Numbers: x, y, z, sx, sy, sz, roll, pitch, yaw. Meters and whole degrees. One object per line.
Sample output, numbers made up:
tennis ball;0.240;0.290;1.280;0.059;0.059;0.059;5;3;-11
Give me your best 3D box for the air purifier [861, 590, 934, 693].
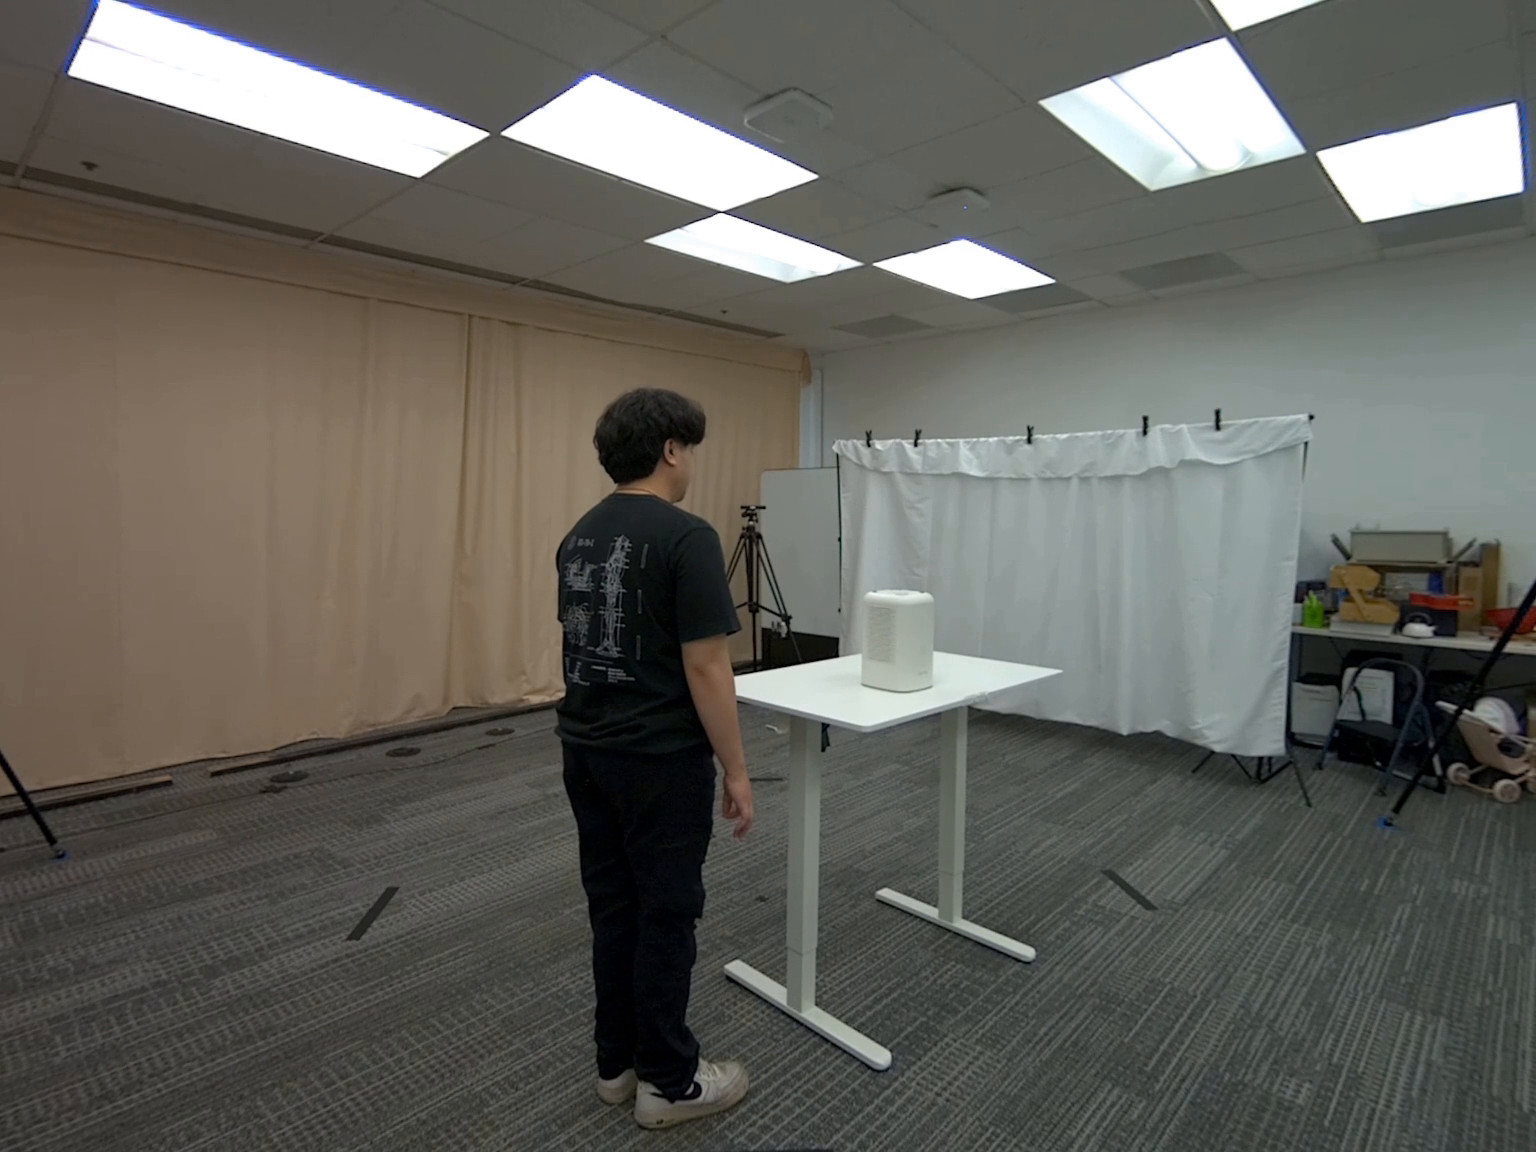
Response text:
air purifier;0.373;0.178;2.369;0.166;0.265;0.177;-2;4;-43
